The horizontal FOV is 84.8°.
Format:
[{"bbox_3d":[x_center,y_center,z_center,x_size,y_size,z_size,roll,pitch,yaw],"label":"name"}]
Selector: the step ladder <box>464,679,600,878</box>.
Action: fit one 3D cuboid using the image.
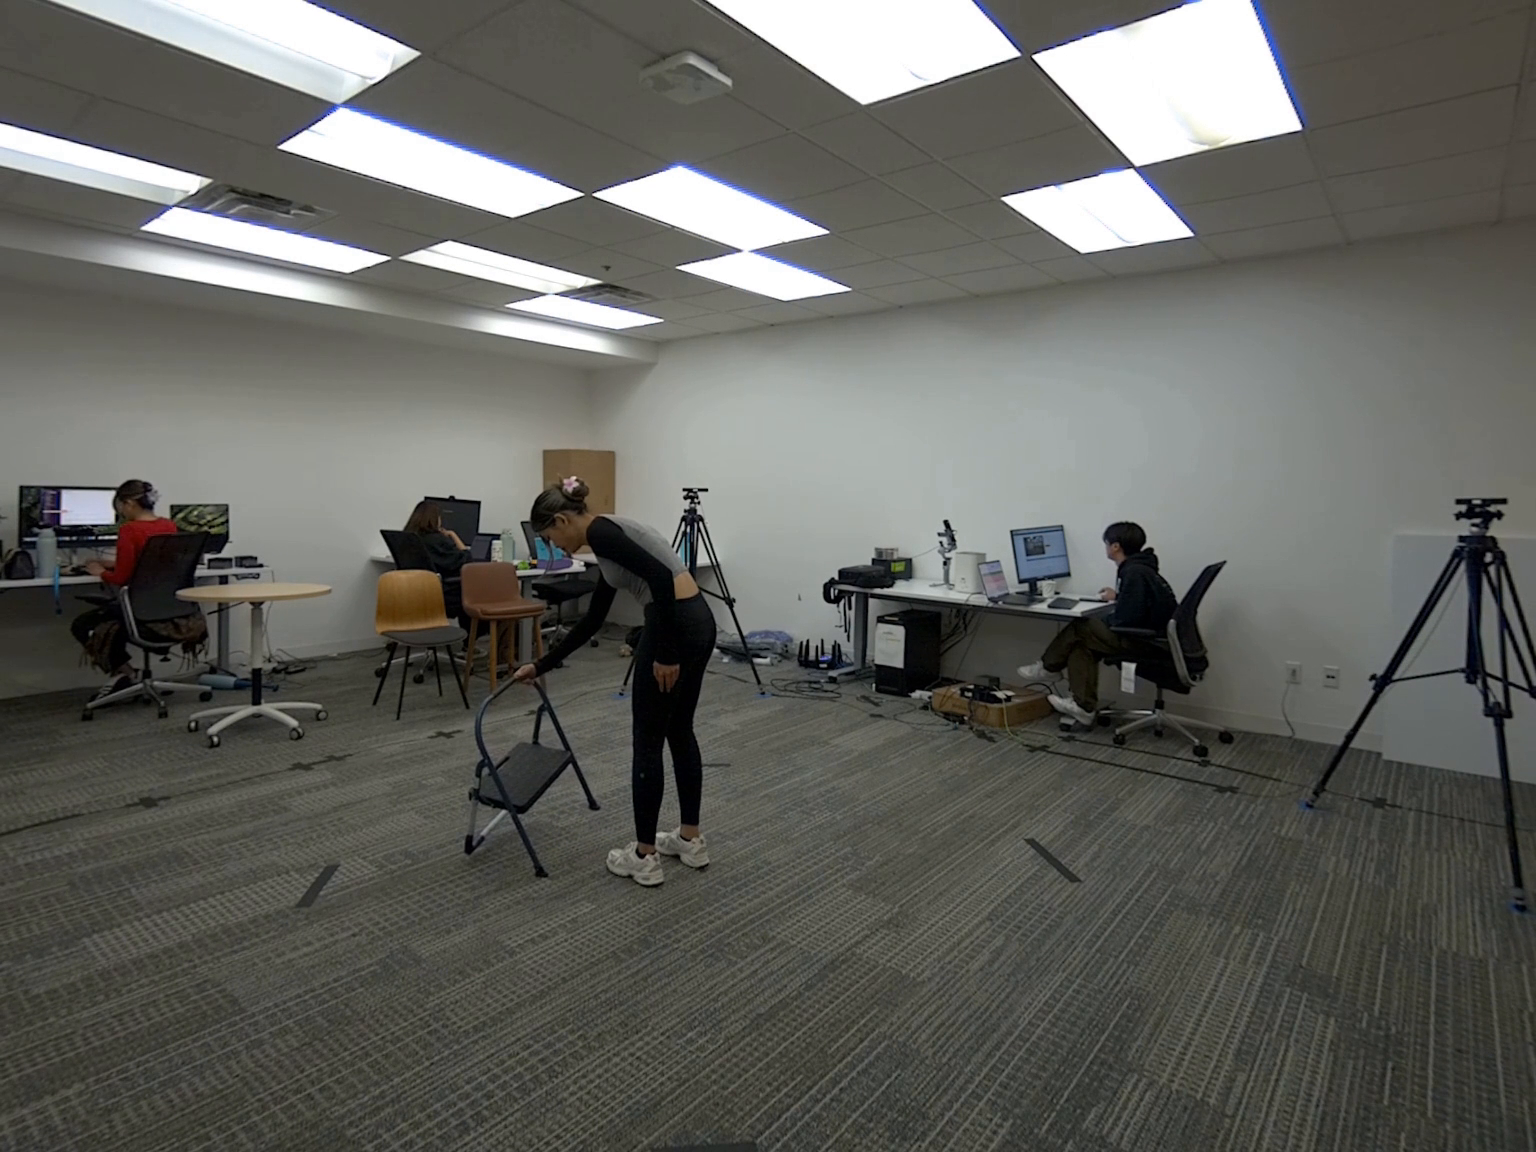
[{"bbox_3d":[-0.913,0.696,3.167,0.357,0.595,0.429,6,21,18],"label":"step ladder"}]
